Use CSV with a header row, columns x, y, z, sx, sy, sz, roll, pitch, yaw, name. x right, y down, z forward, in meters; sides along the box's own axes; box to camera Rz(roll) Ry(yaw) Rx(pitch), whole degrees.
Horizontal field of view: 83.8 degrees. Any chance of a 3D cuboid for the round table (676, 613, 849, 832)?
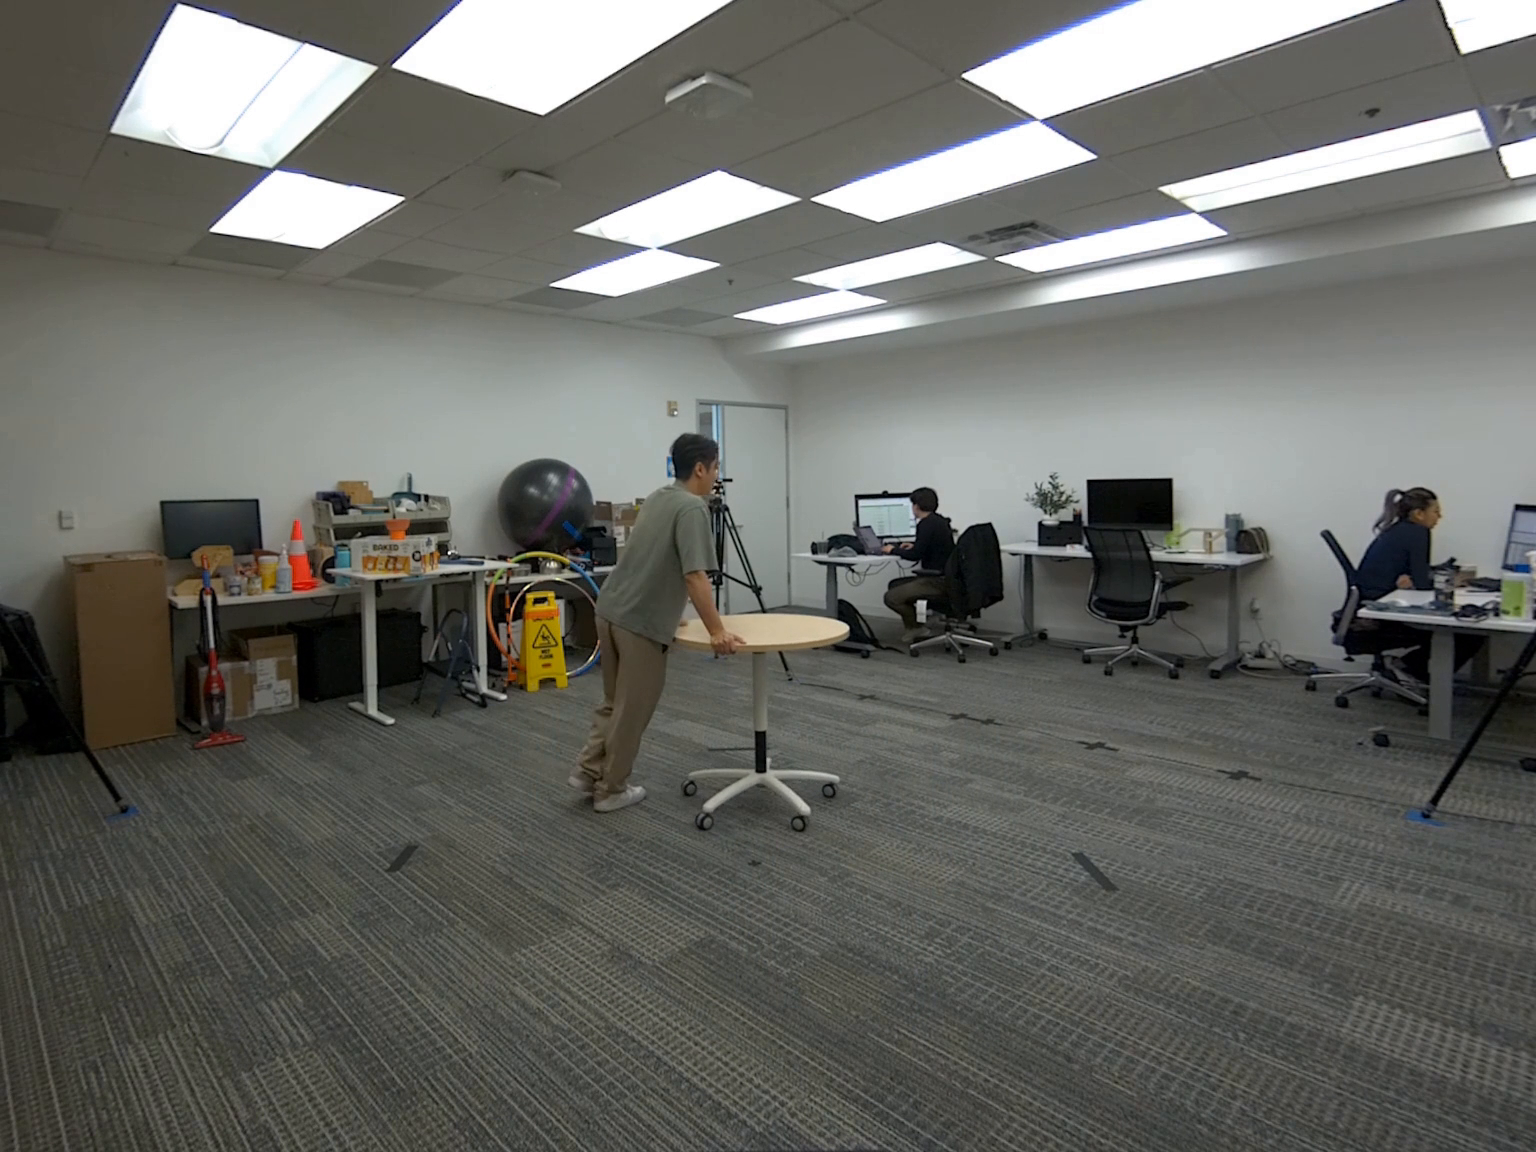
x,y,z,sx,sy,sz,roll,pitch,yaw,name
-0.035,0.598,3.632,0.784,0.784,0.789,-2,4,-2,round table
